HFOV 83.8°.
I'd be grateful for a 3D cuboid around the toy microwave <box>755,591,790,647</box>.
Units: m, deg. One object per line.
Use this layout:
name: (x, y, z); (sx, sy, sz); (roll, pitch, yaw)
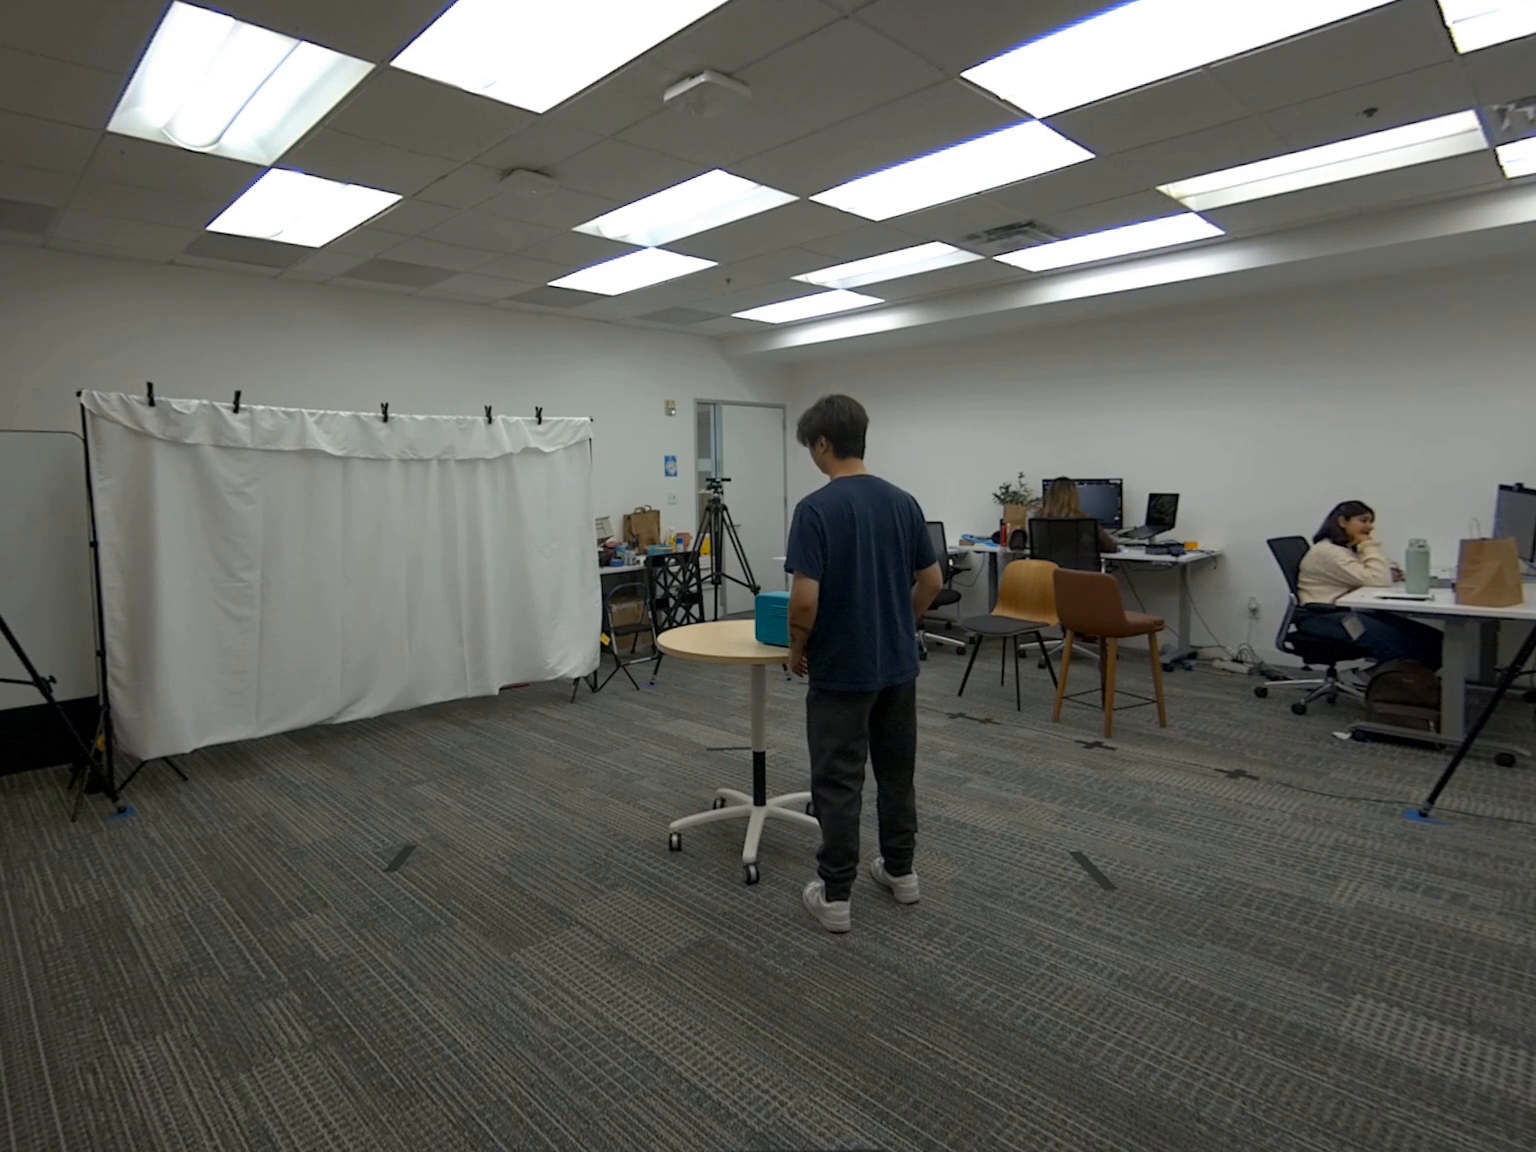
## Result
toy microwave: (0.107, 0.159, 3.069); (0.295, 0.183, 0.148); (5, 7, 40)
